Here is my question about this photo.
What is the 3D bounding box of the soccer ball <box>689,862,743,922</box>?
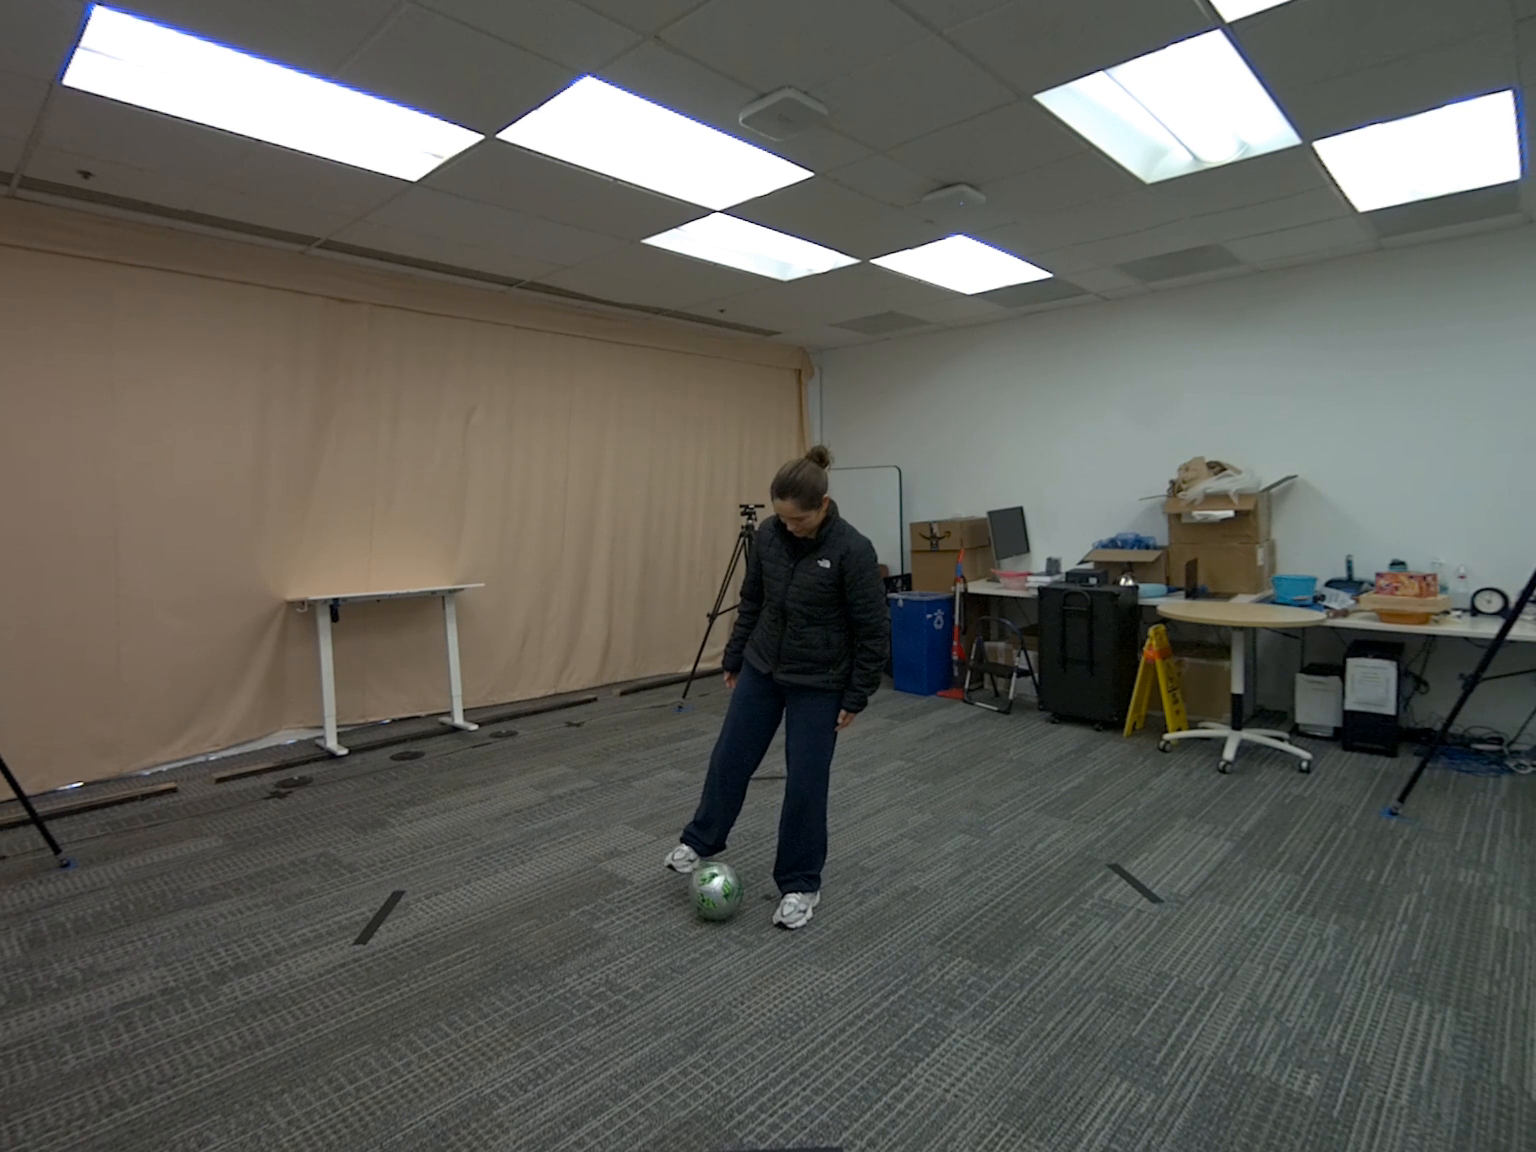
[{"bbox_3d":[-0.177,1.054,2.856,0.187,0.187,0.188,-1,4,-2],"label":"soccer ball"}]
